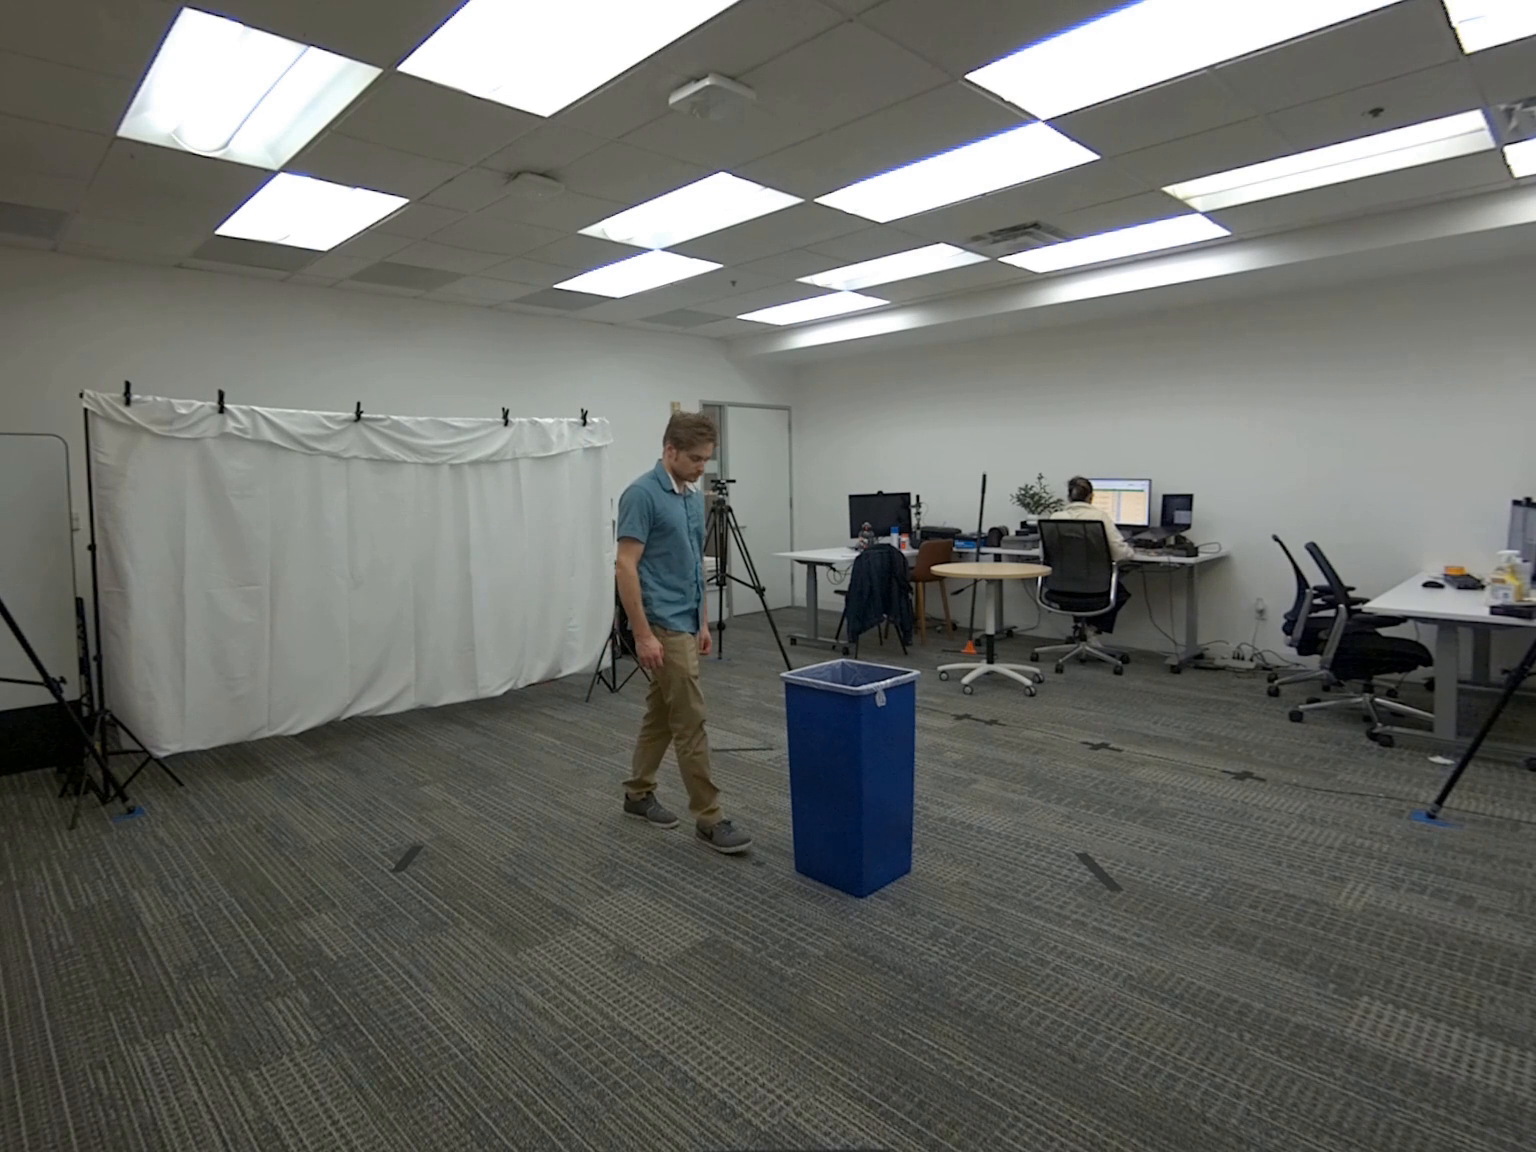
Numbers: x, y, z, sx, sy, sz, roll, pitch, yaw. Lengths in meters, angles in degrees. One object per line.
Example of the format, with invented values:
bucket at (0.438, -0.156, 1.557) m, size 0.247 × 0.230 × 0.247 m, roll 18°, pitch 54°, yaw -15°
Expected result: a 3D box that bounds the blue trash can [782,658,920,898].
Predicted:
blue trash can at (0.299, 0.696, 3.011) m, size 0.389 × 0.712 × 0.364 m, roll 2°, pitch 3°, yaw 44°
